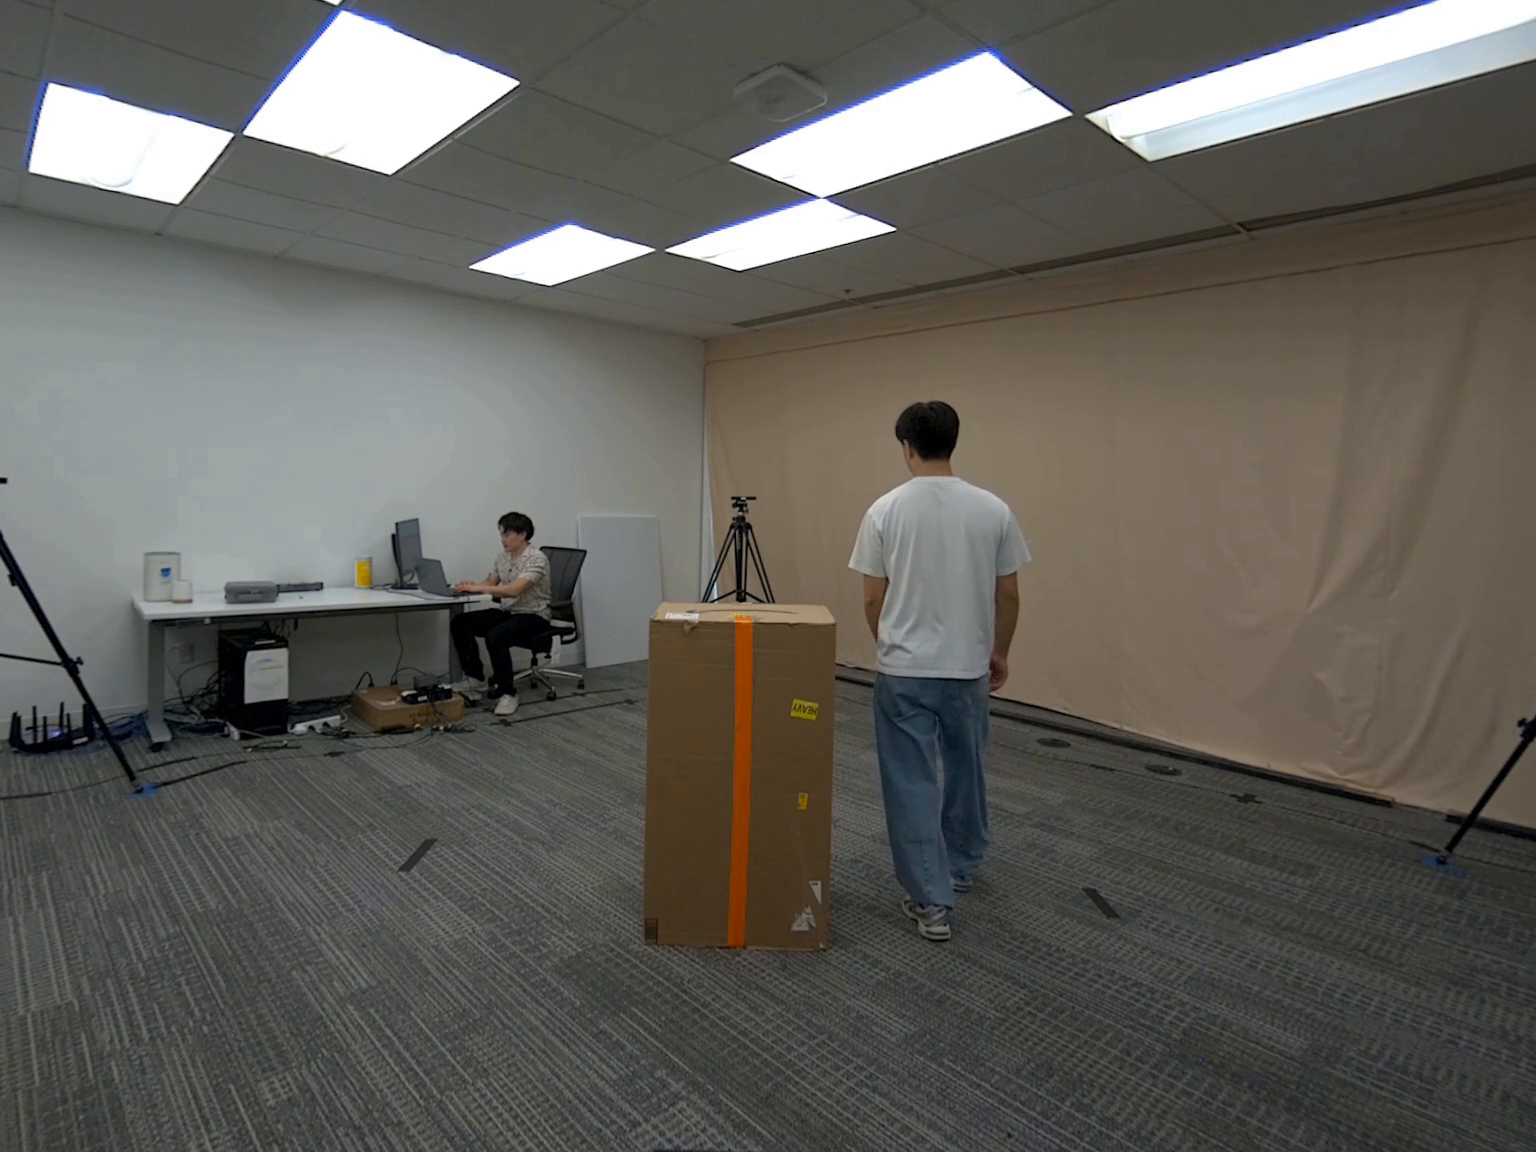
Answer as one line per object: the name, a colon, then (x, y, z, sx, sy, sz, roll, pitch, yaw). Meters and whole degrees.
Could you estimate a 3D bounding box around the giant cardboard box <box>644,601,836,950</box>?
giant cardboard box: (-0.101, 0.628, 2.782, 0.578, 1.023, 0.427, 1, 4, 0)
